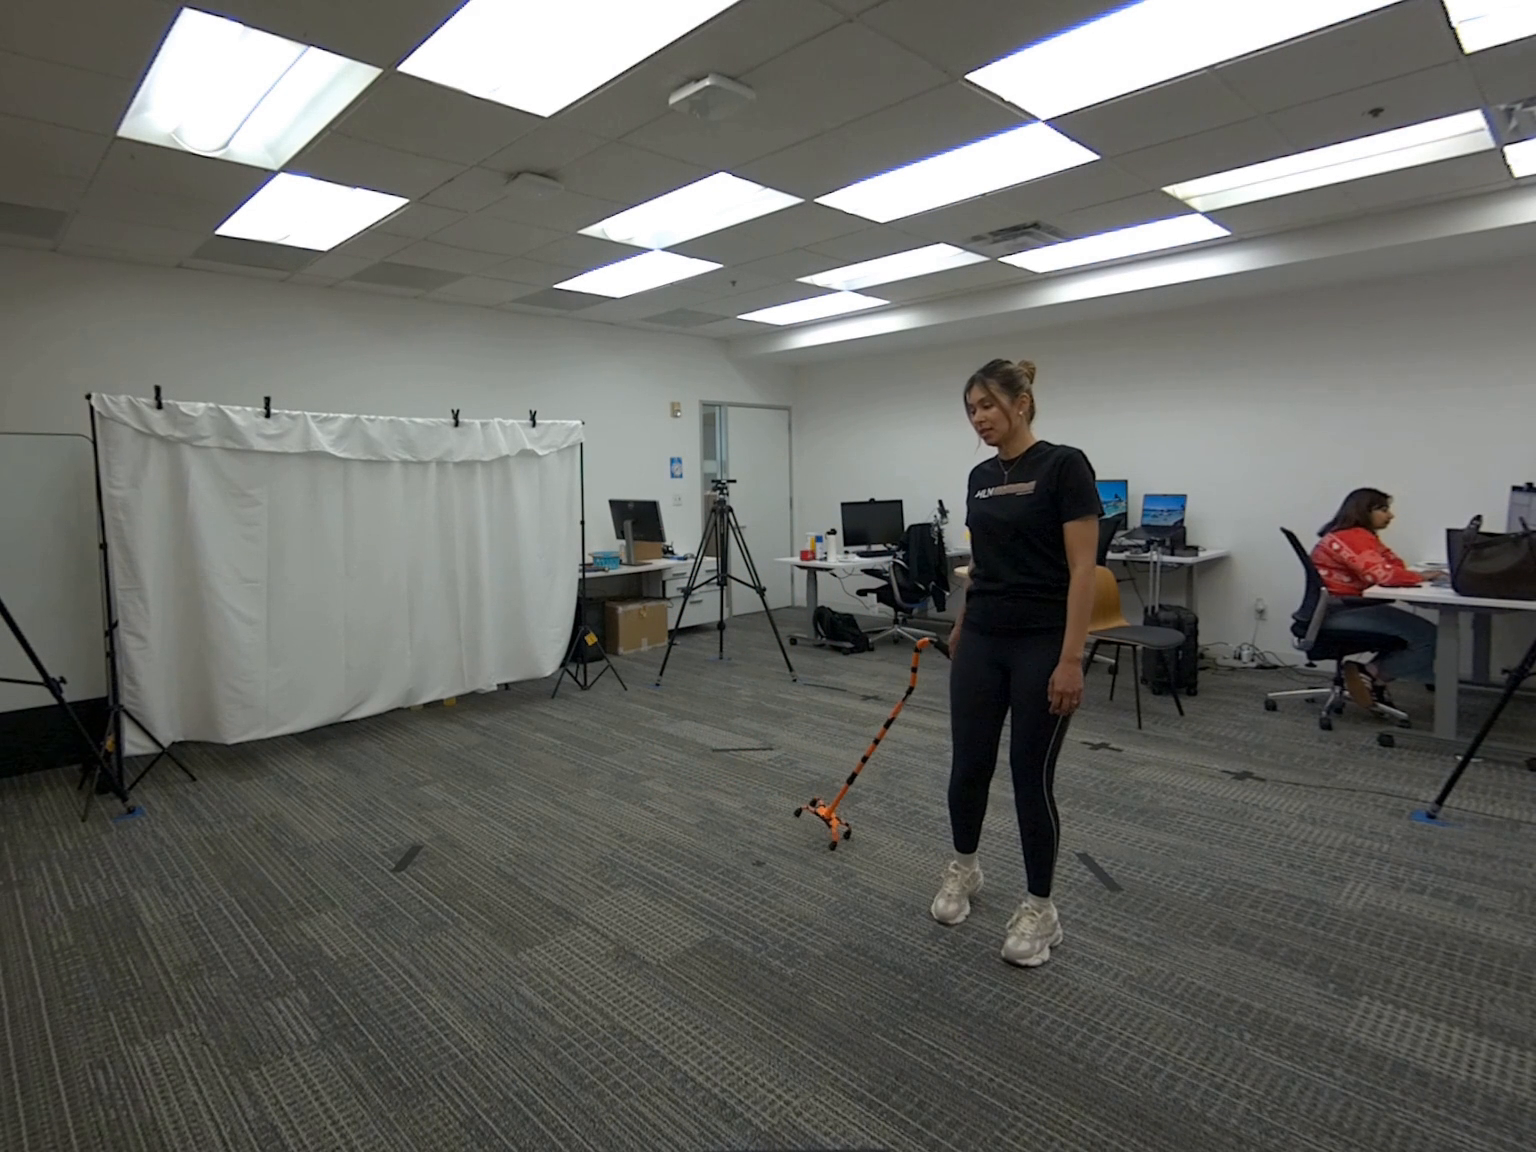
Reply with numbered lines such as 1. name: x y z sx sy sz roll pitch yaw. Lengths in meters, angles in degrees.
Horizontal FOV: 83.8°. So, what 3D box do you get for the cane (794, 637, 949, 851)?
1. cane: 0.404 0.601 3.150 0.213 0.901 0.148 39 23 25
